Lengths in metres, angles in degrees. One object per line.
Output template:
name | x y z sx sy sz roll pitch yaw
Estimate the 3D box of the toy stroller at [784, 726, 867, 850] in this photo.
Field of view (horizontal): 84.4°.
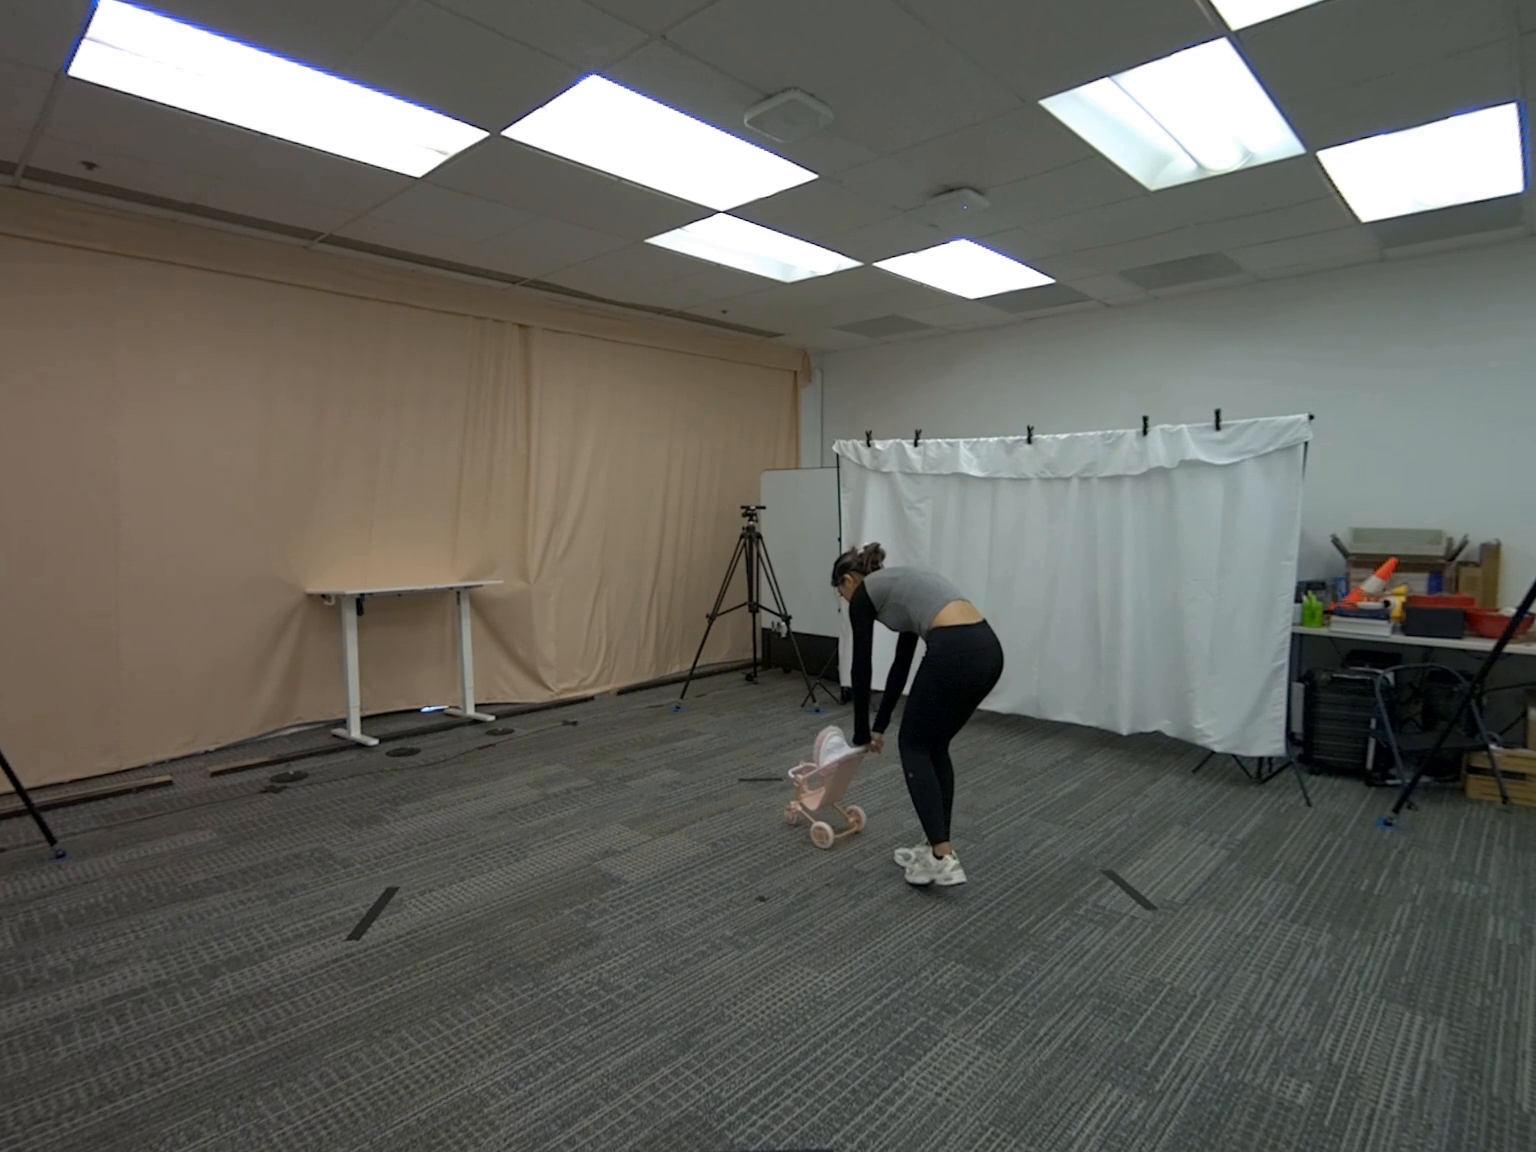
toy stroller | 0.254 0.867 3.545 0.272 0.532 0.354 -2 18 -46
